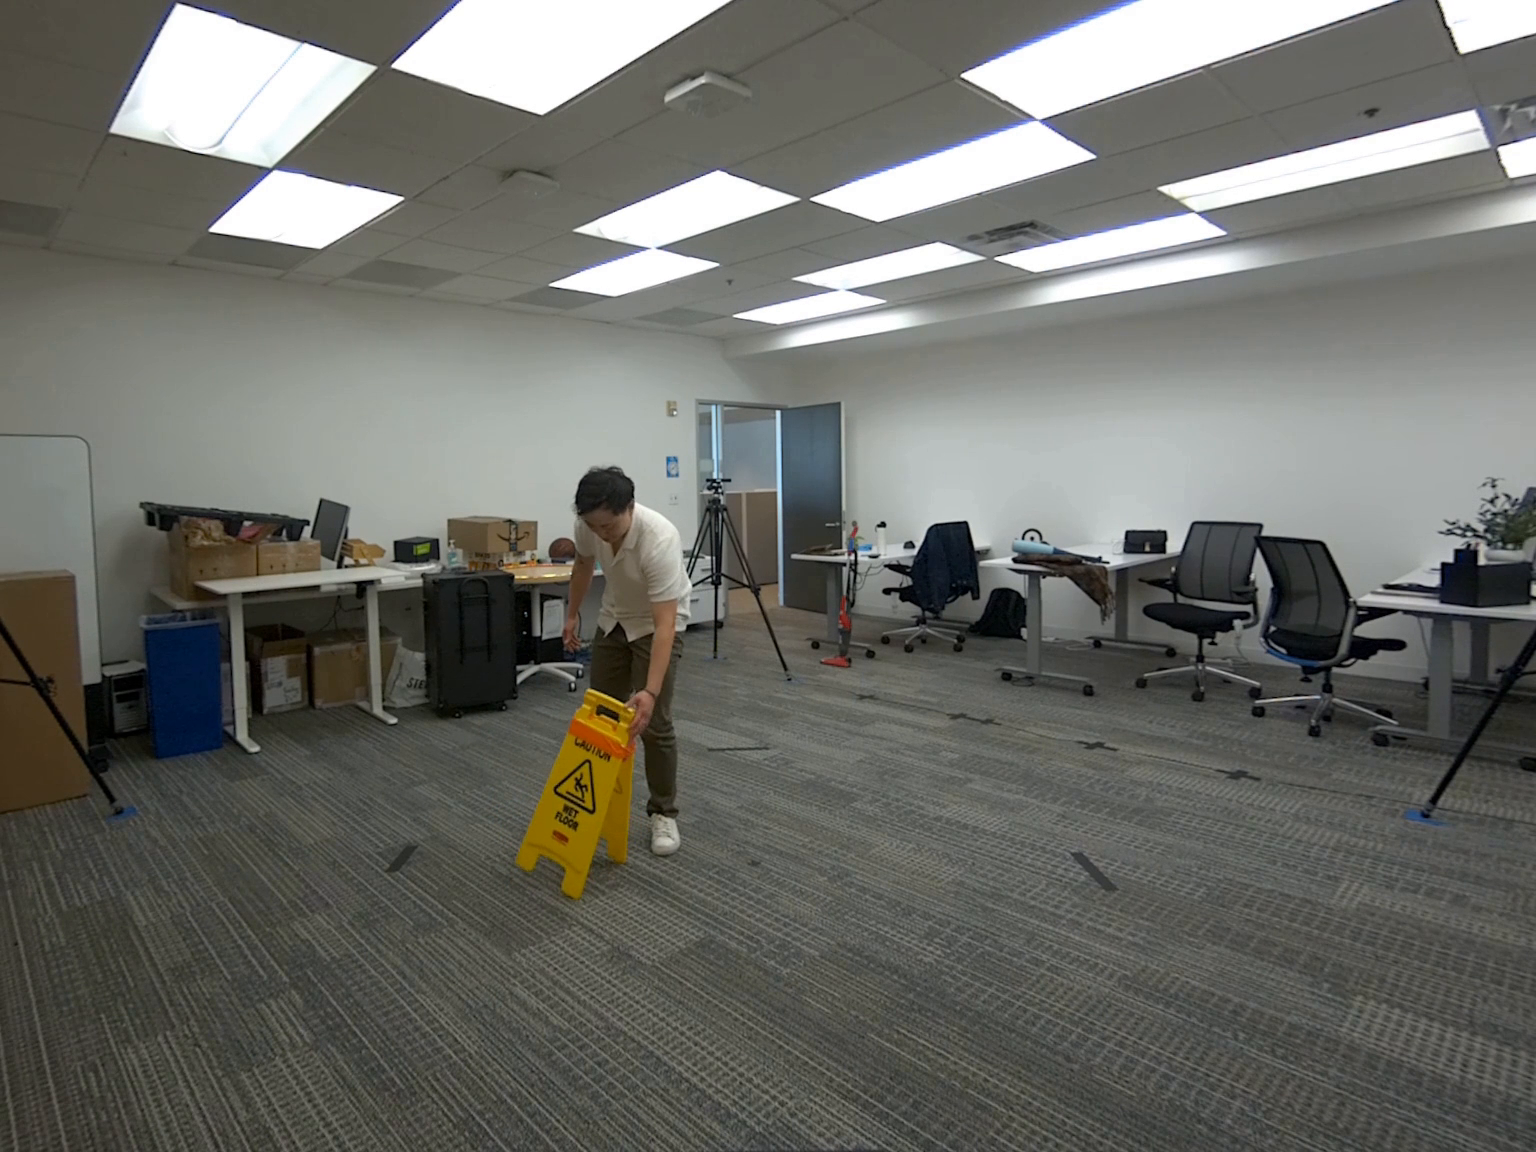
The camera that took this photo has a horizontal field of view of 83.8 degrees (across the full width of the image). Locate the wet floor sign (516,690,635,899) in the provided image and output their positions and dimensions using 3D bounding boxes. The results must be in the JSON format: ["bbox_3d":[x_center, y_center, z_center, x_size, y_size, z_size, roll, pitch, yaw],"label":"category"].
[{"bbox_3d":[-0.624,0.727,2.987,0.290,0.641,0.284,18,12,22],"label":"wet floor sign"}]
